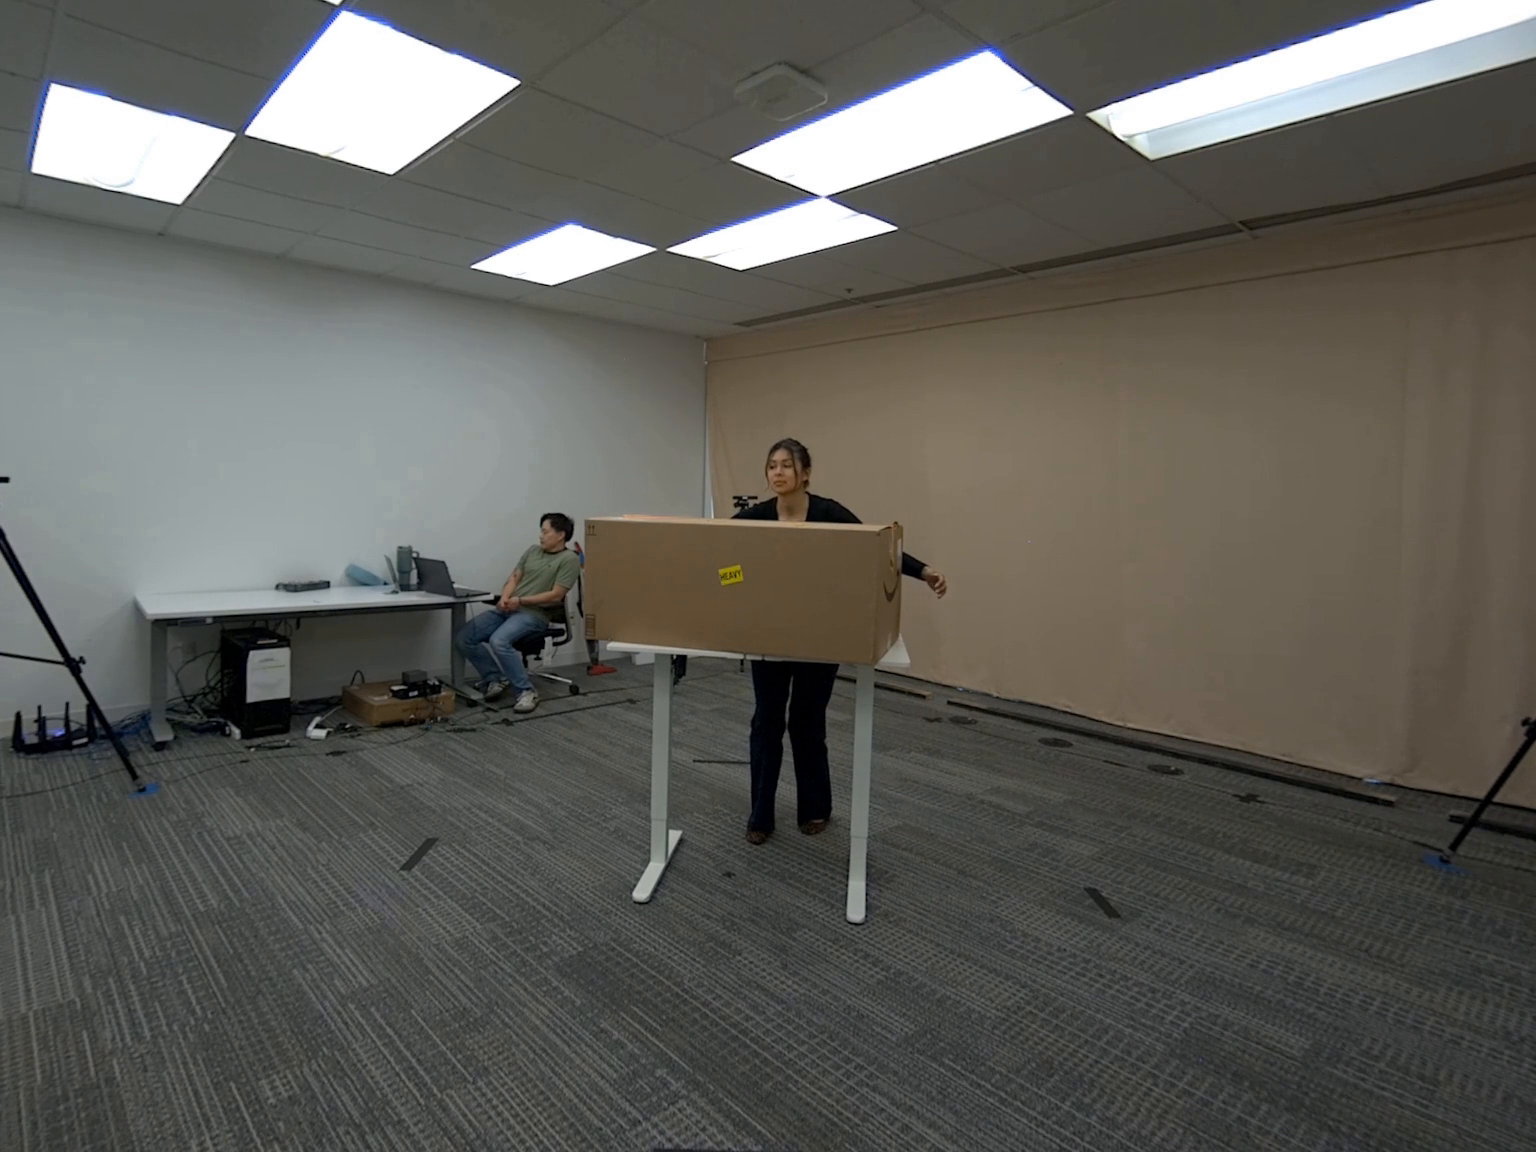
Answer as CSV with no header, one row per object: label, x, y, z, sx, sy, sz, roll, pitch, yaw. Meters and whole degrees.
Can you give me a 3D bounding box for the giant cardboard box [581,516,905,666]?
giant cardboard box,-0.077,0.016,3.026,1.042,0.425,0.570,3,5,19
